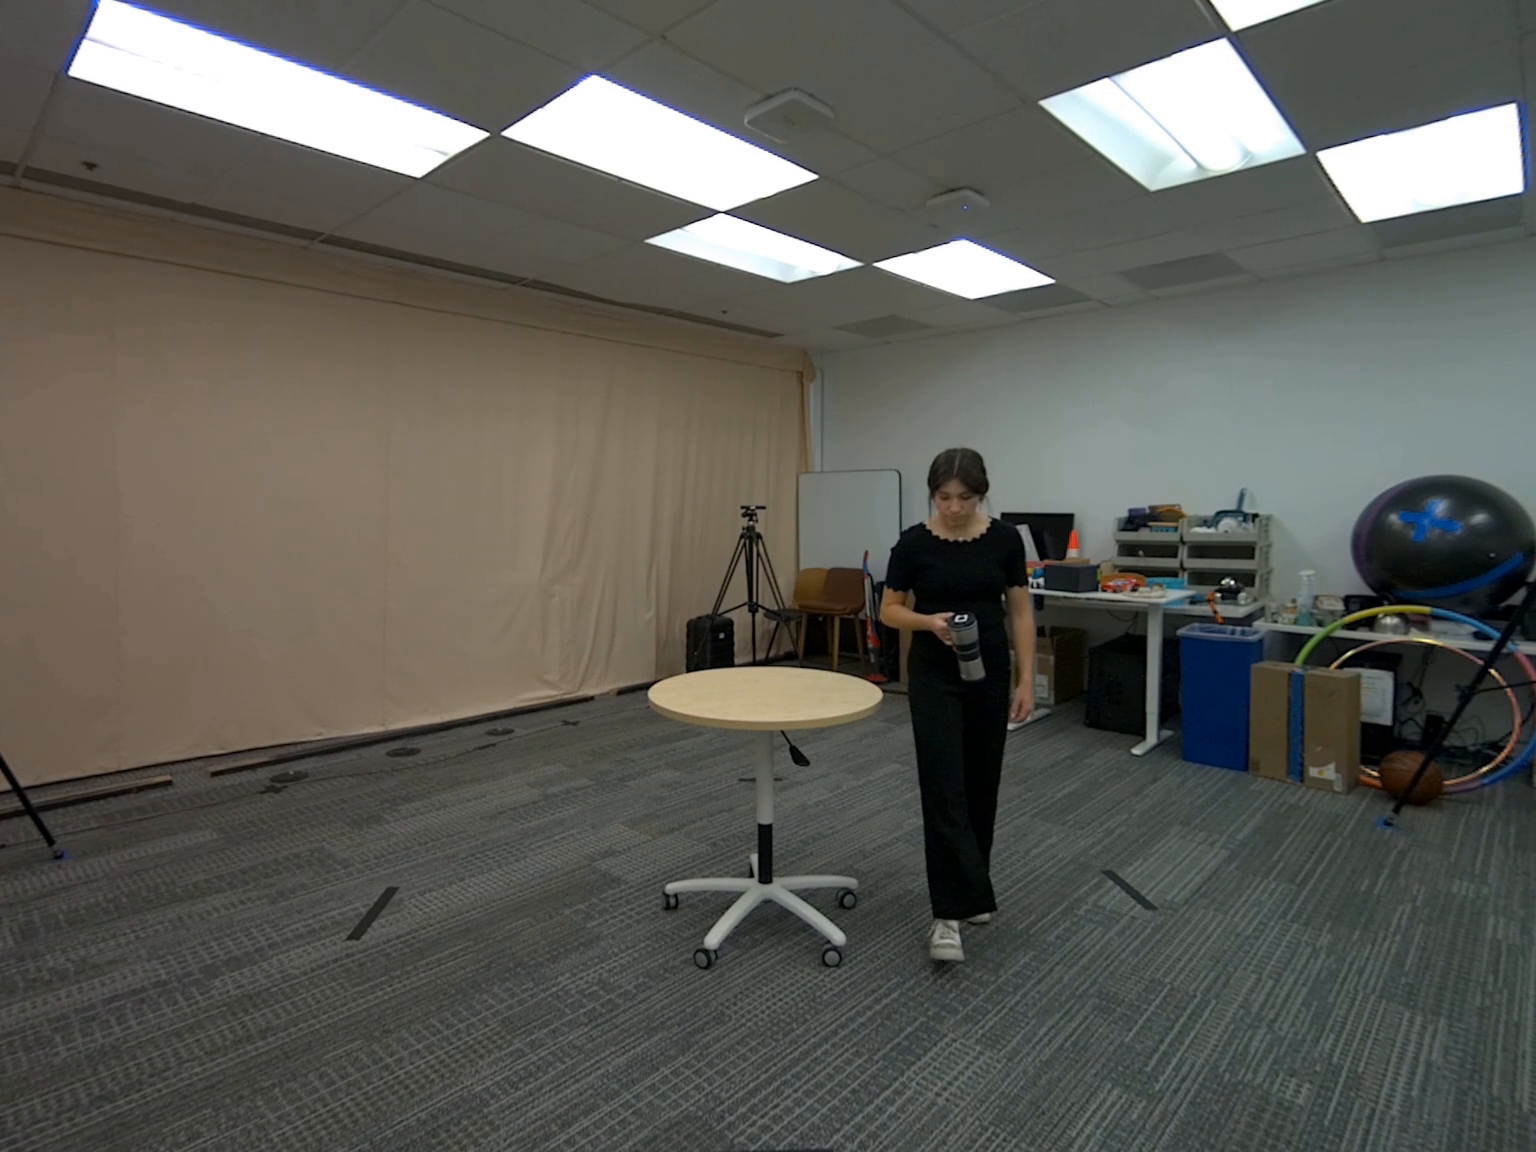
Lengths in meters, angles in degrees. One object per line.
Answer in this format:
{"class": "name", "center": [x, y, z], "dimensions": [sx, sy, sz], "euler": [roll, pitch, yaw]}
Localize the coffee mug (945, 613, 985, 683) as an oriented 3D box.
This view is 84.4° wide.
{"class": "coffee mug", "center": [0.604, 0.219, 2.588], "dimensions": [0.087, 0.200, 0.125], "euler": [-19, 18, -9]}
